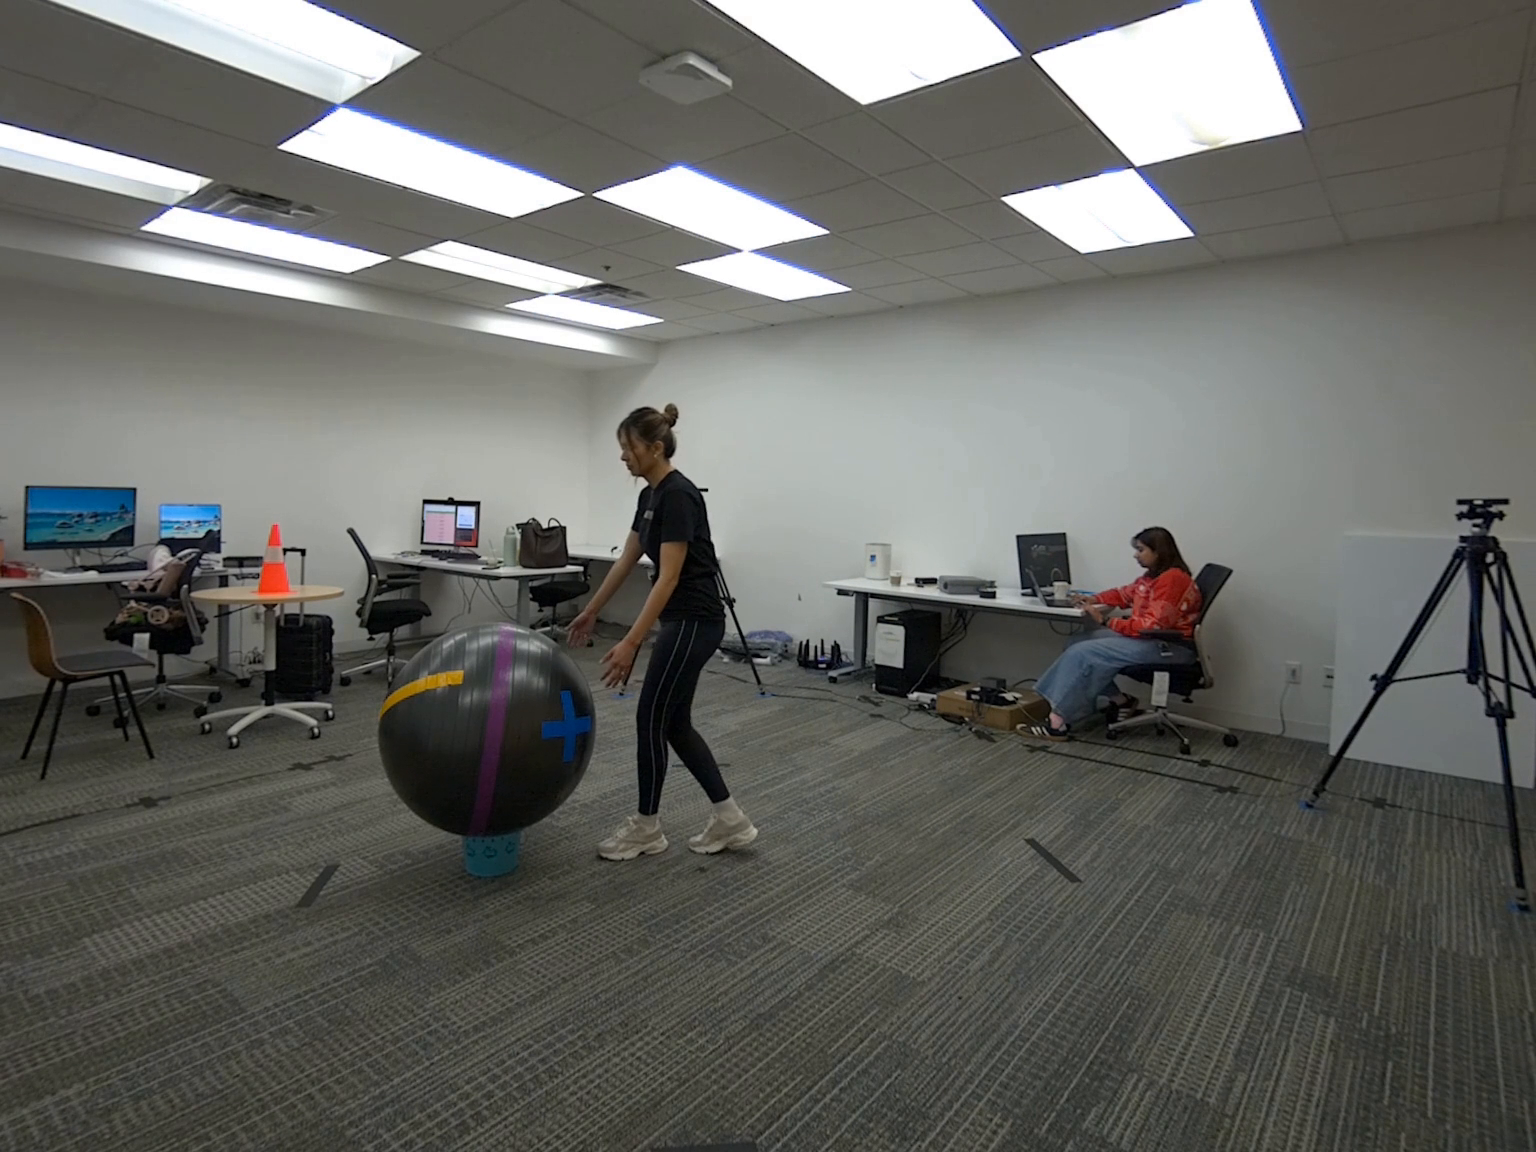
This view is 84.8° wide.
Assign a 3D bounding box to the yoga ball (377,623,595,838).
[{"bbox_3d":[-1.023,0.551,3.080,0.757,0.756,0.762,1,4,-2],"label":"yoga ball"}]
